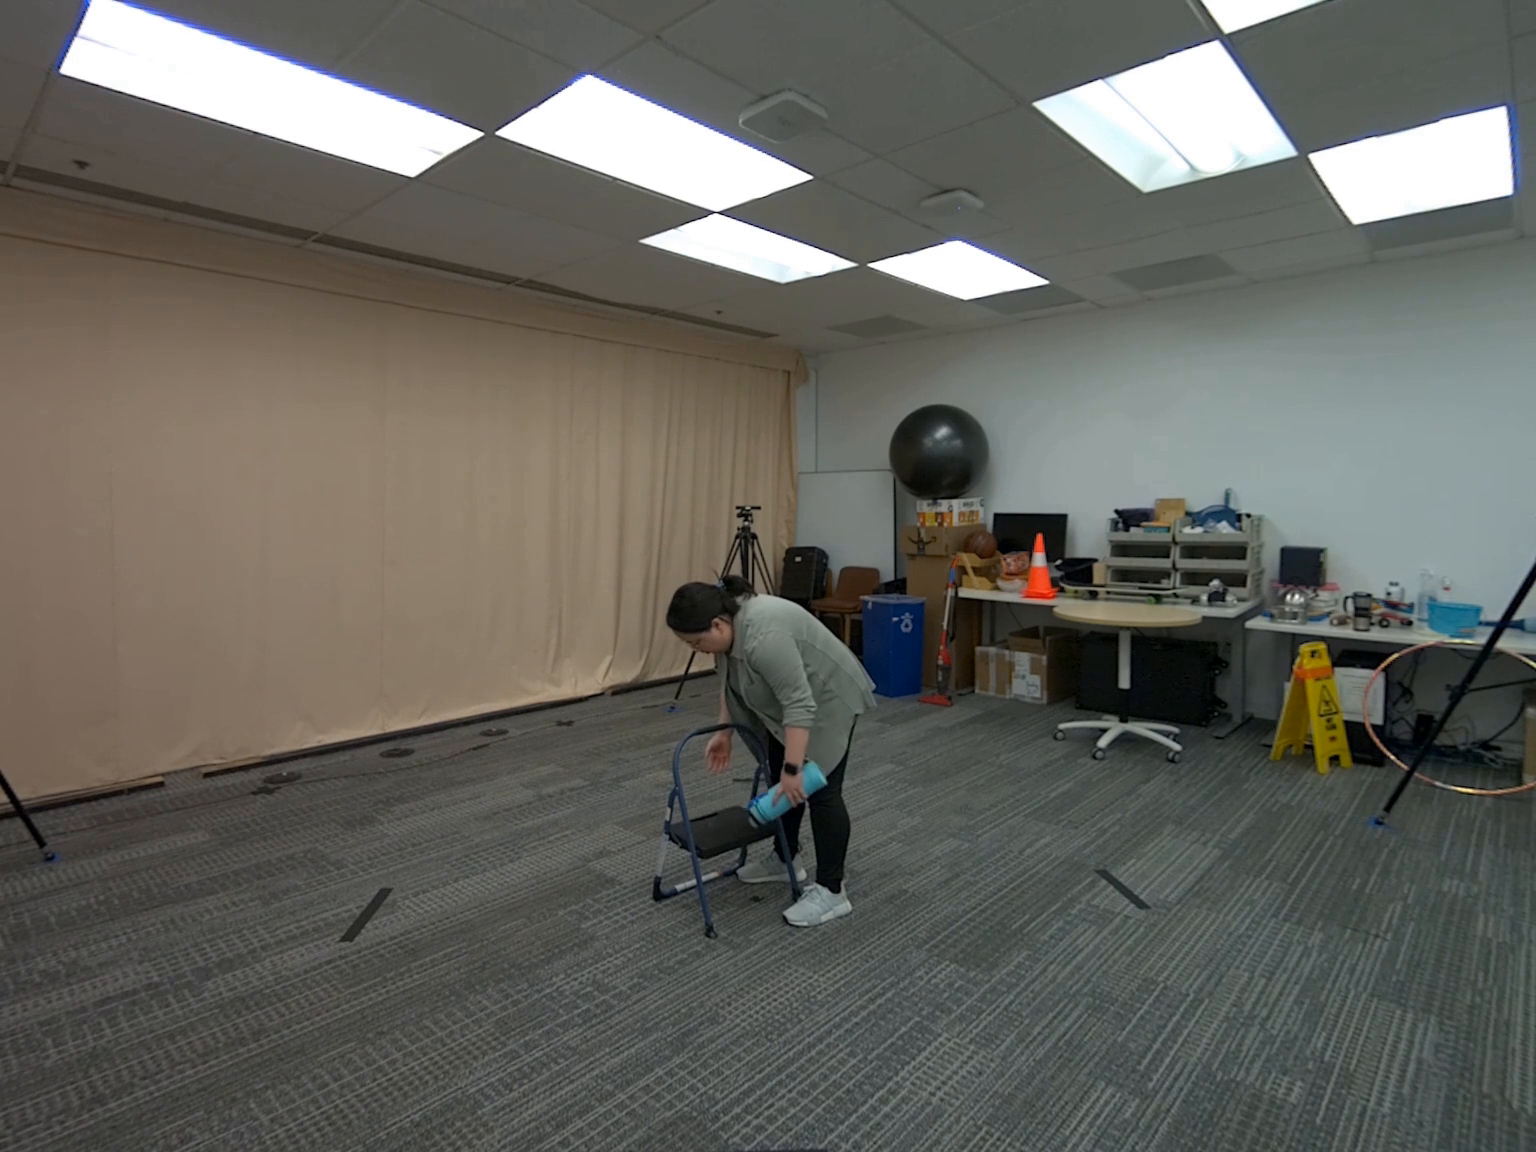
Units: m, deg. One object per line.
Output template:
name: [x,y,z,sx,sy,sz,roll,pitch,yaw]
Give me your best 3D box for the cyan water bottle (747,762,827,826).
cyan water bottle: [0.044,0.723,2.818,0.284,0.092,0.092,-31,1,6]
